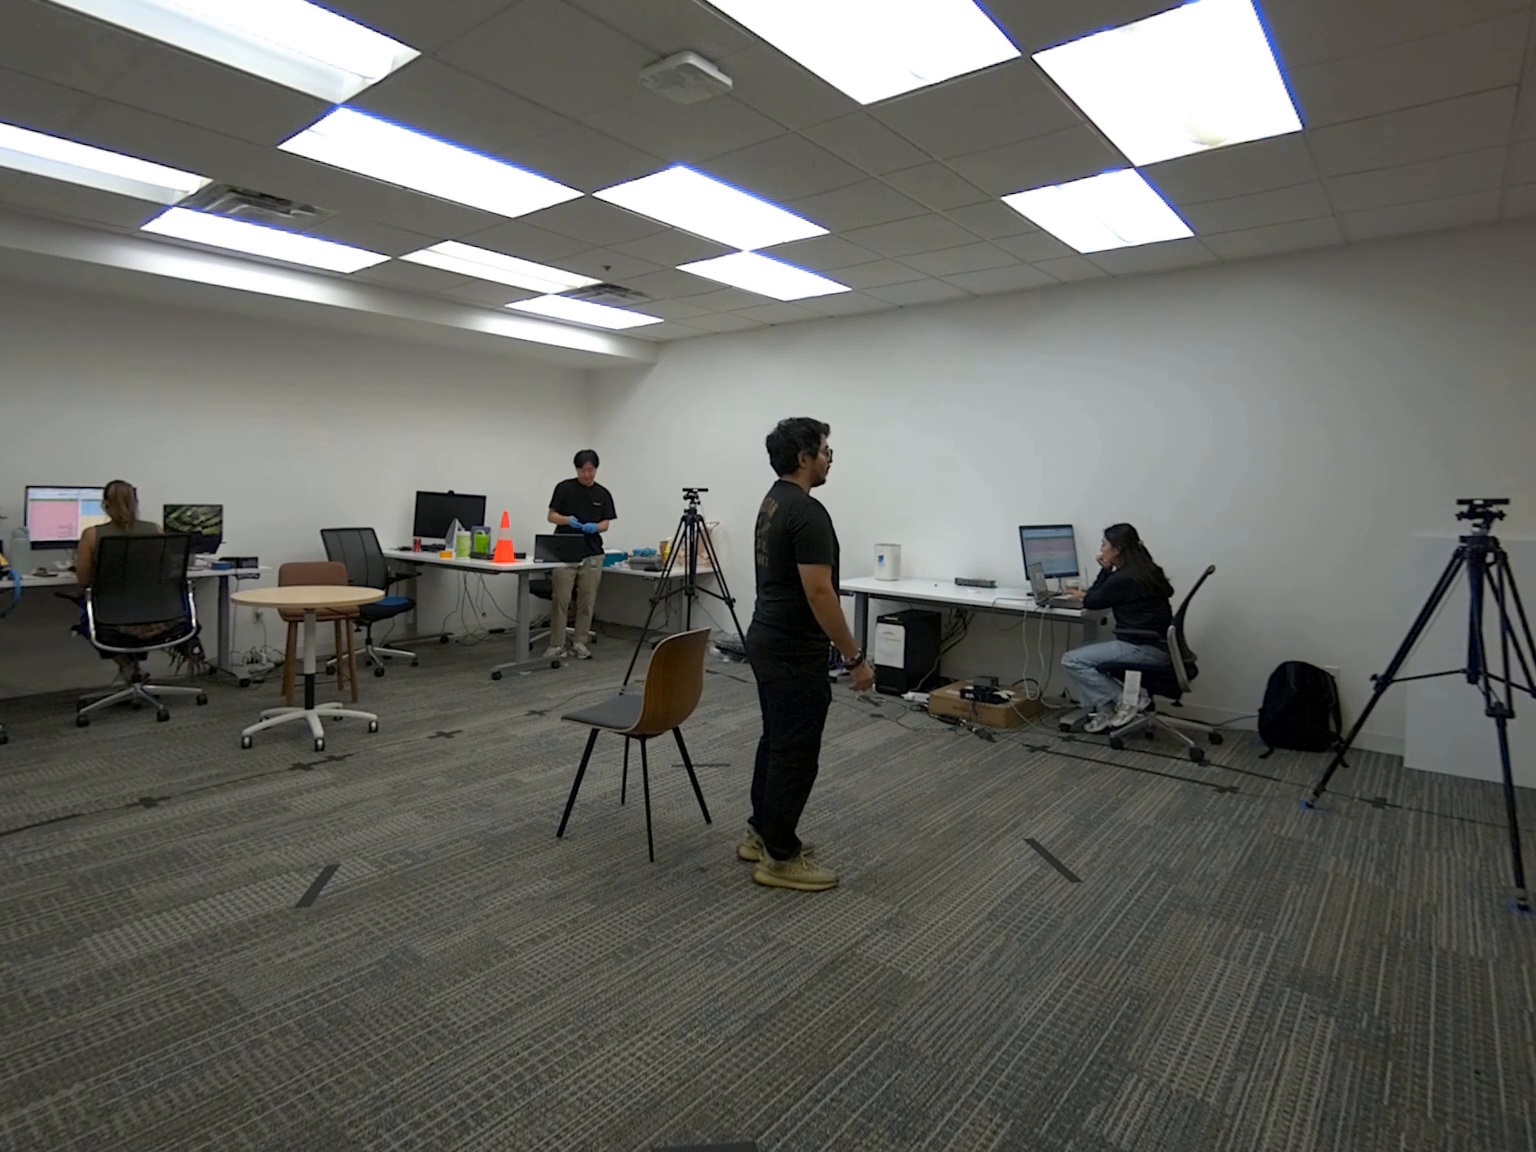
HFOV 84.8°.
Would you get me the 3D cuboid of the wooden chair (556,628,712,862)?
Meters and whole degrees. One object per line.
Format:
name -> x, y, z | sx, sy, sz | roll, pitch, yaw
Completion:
wooden chair -> -0.546, 0.606, 3.431 | 0.538, 0.873, 0.466 | 8, 6, 27
